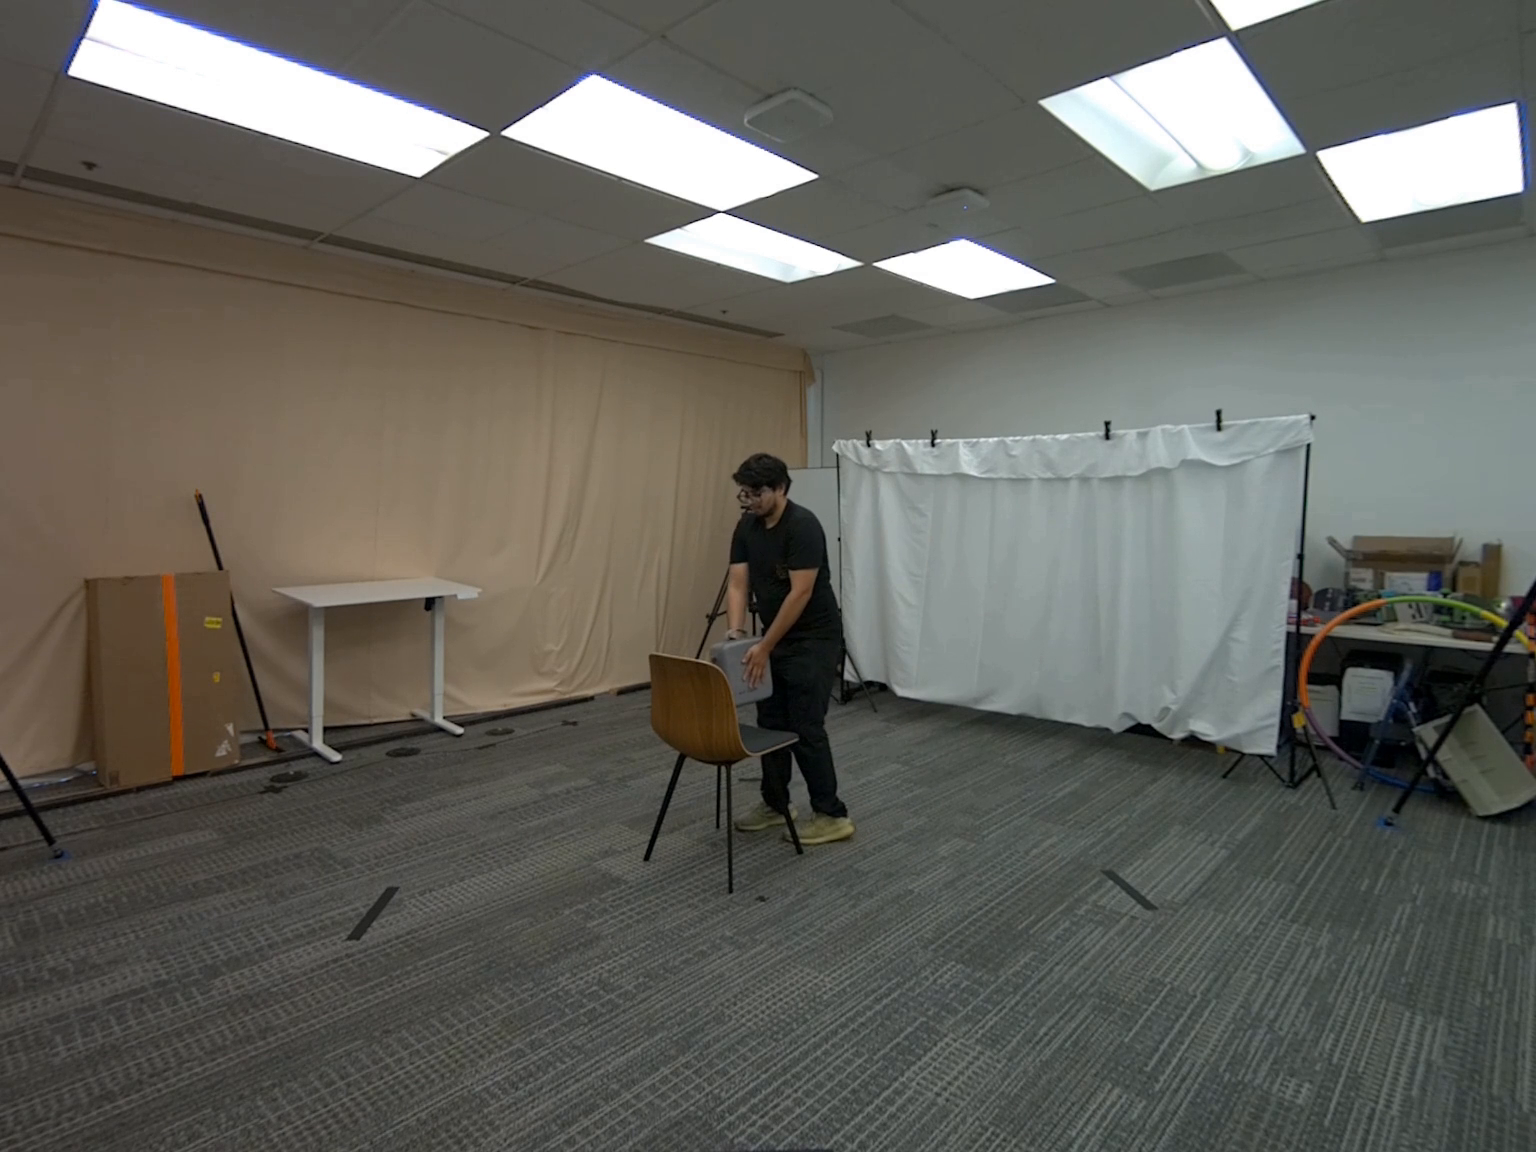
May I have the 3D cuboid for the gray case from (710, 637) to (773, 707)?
[{"bbox_3d":[-0.101,0.377,3.357,0.107,0.261,0.249,-9,-2,43],"label":"gray case"}]
